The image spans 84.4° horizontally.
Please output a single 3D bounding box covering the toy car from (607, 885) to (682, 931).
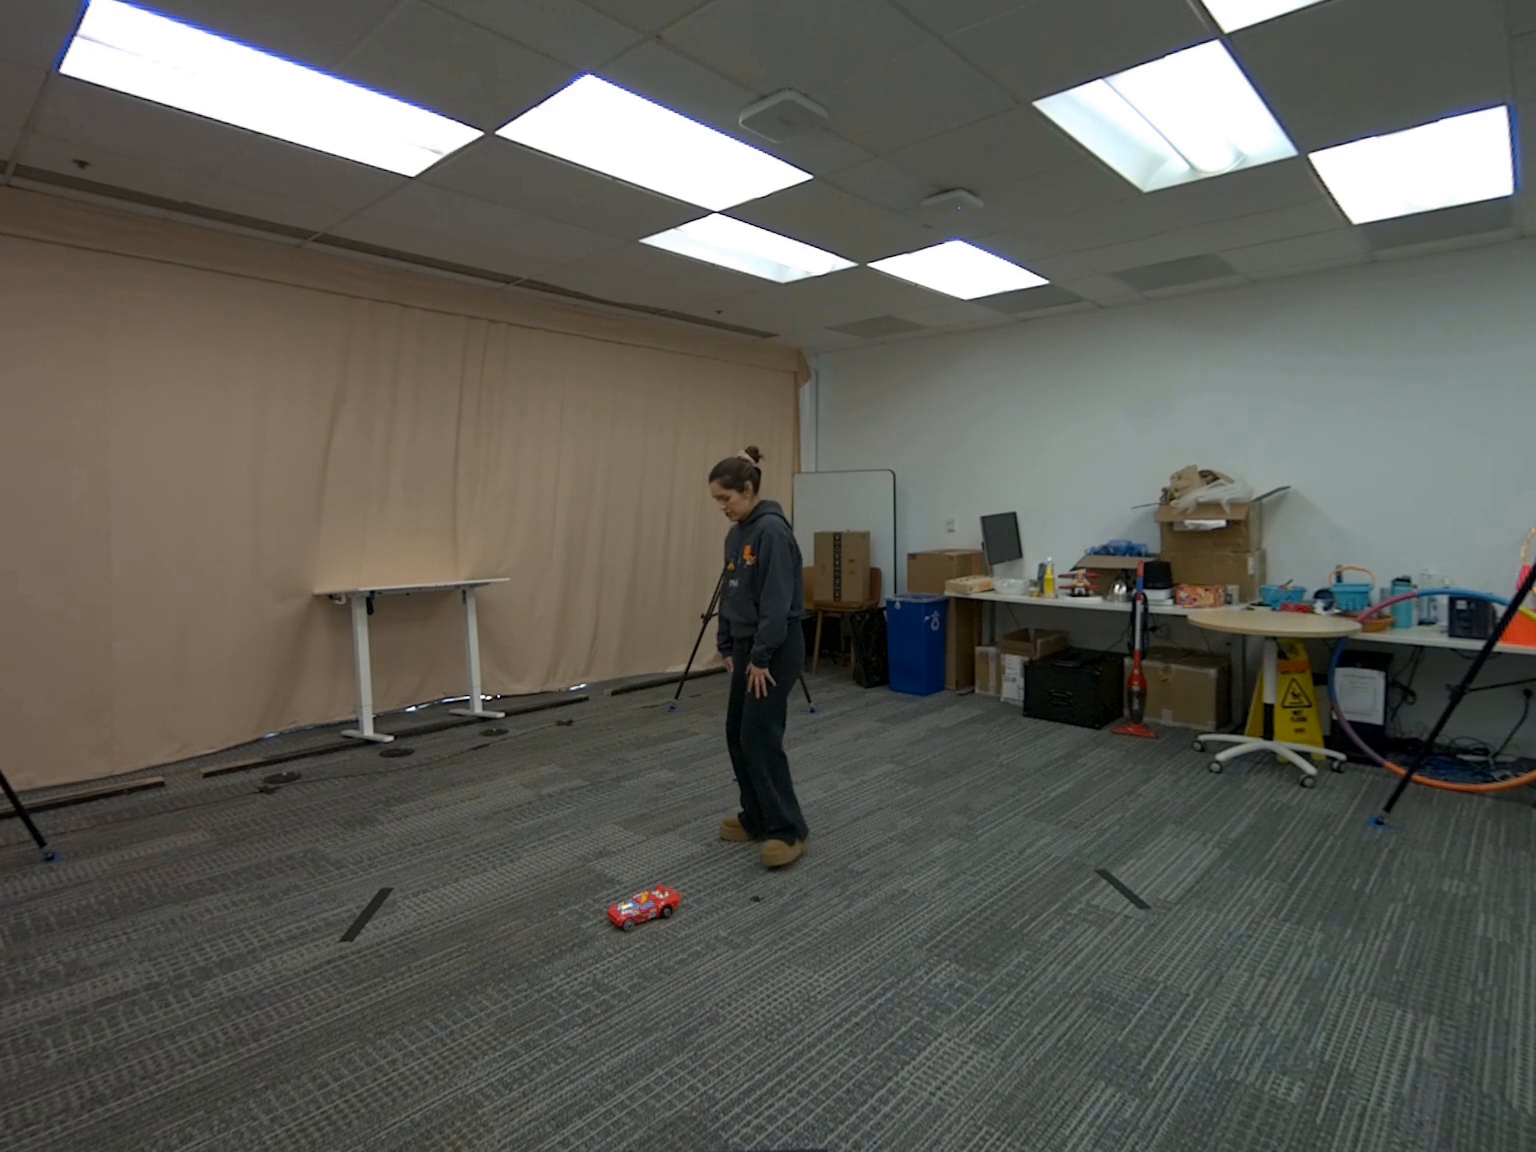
[{"bbox_3d":[-0.397,1.126,2.857,0.249,0.082,0.134,-18,12,-34],"label":"toy car"}]
